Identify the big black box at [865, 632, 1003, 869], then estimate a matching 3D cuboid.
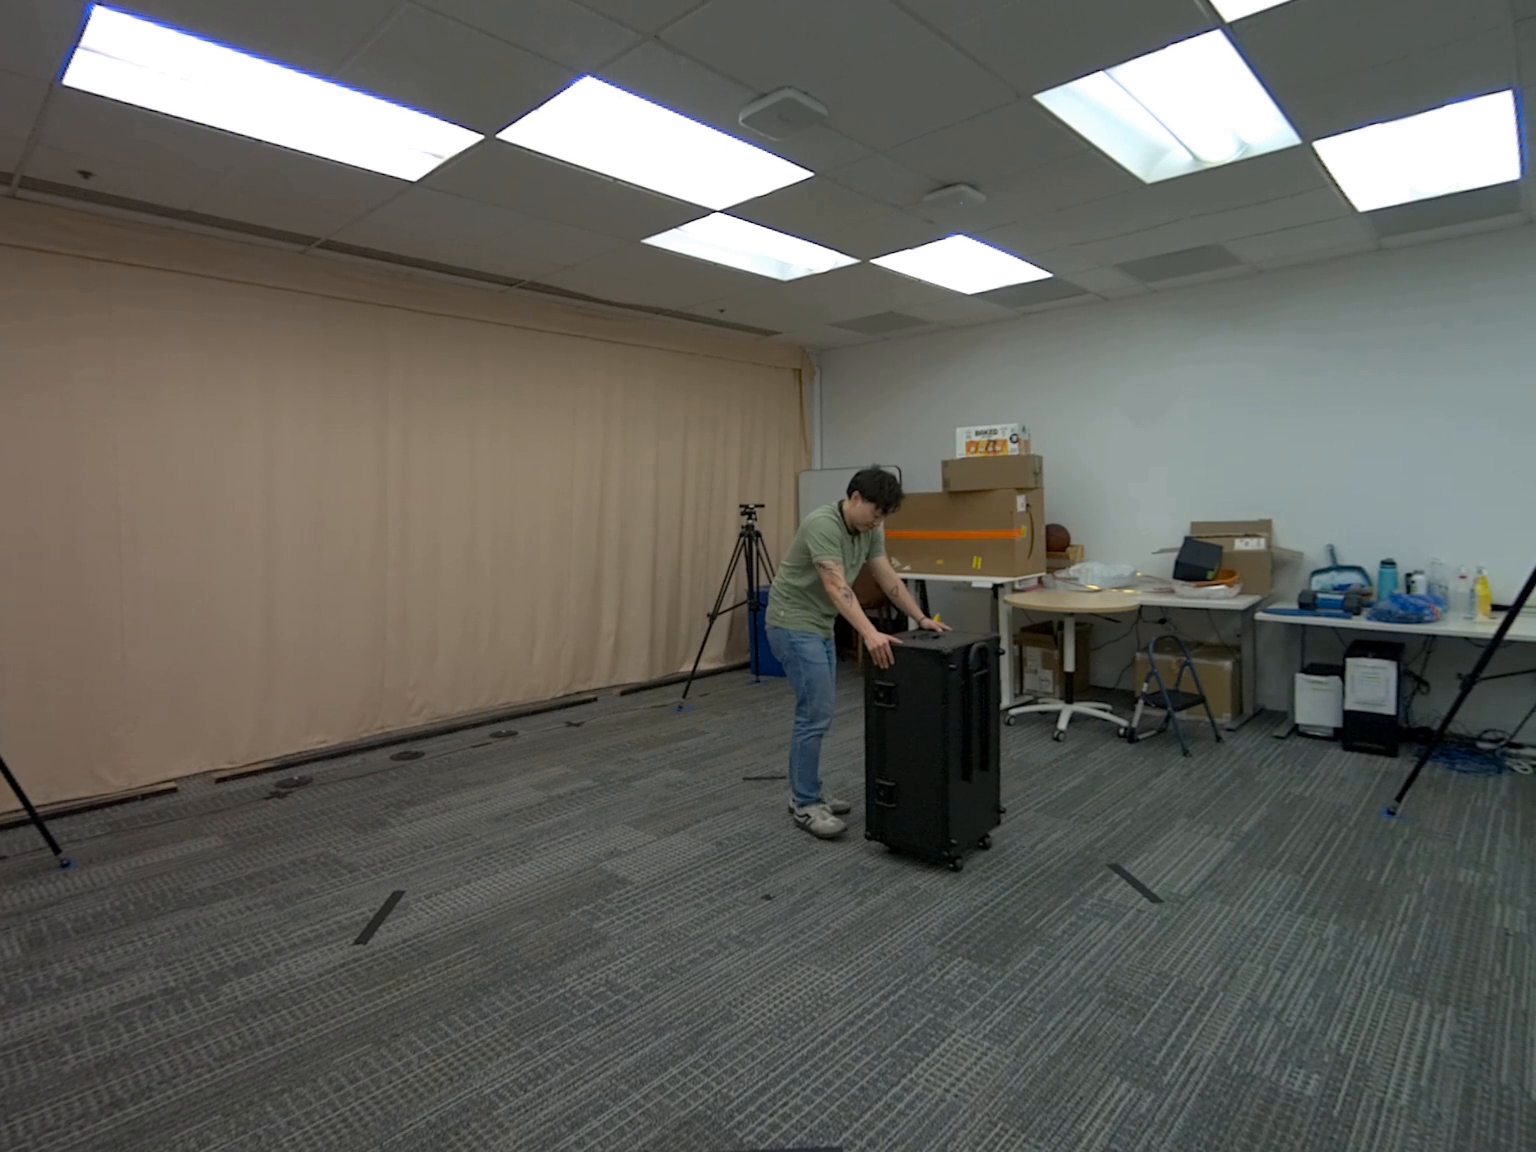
[{"bbox_3d":[0.686,0.669,3.354,0.409,0.859,0.505,3,5,39],"label":"big black box"}]
